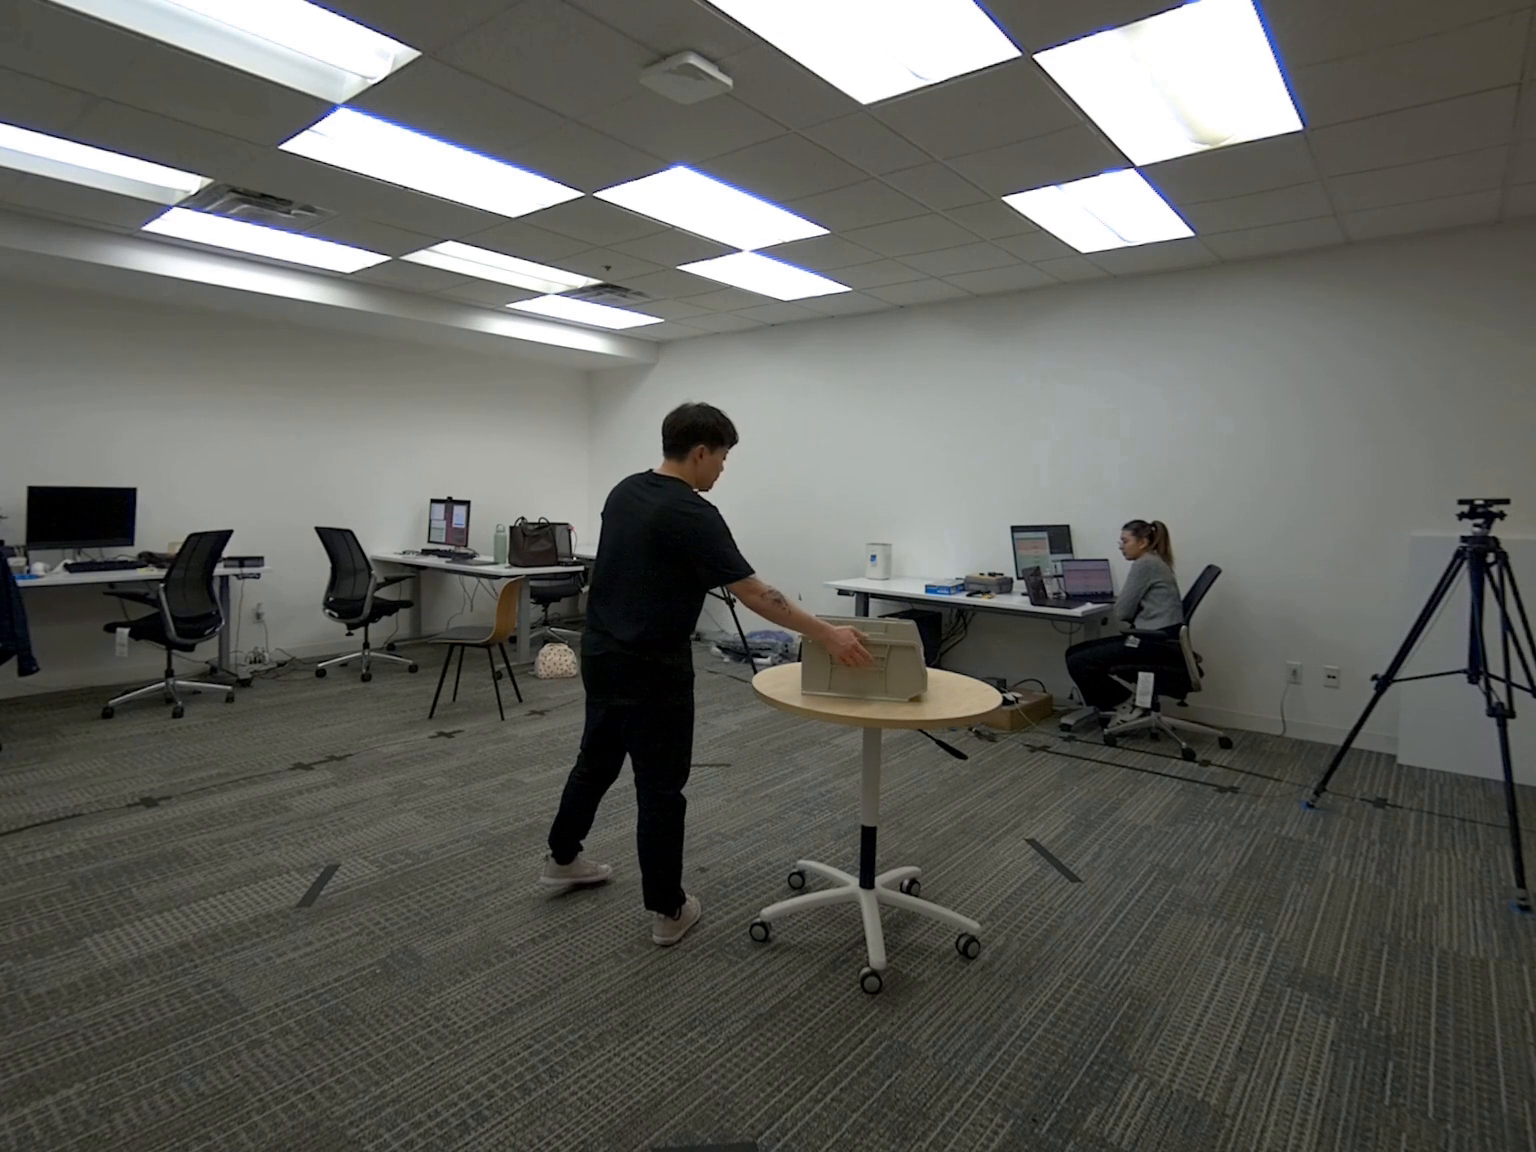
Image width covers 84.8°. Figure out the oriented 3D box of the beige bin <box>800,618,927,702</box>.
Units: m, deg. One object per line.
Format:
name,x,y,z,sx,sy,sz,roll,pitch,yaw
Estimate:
beige bin,0.297,0.255,2.684,0.382,0.188,0.419,2,6,10
